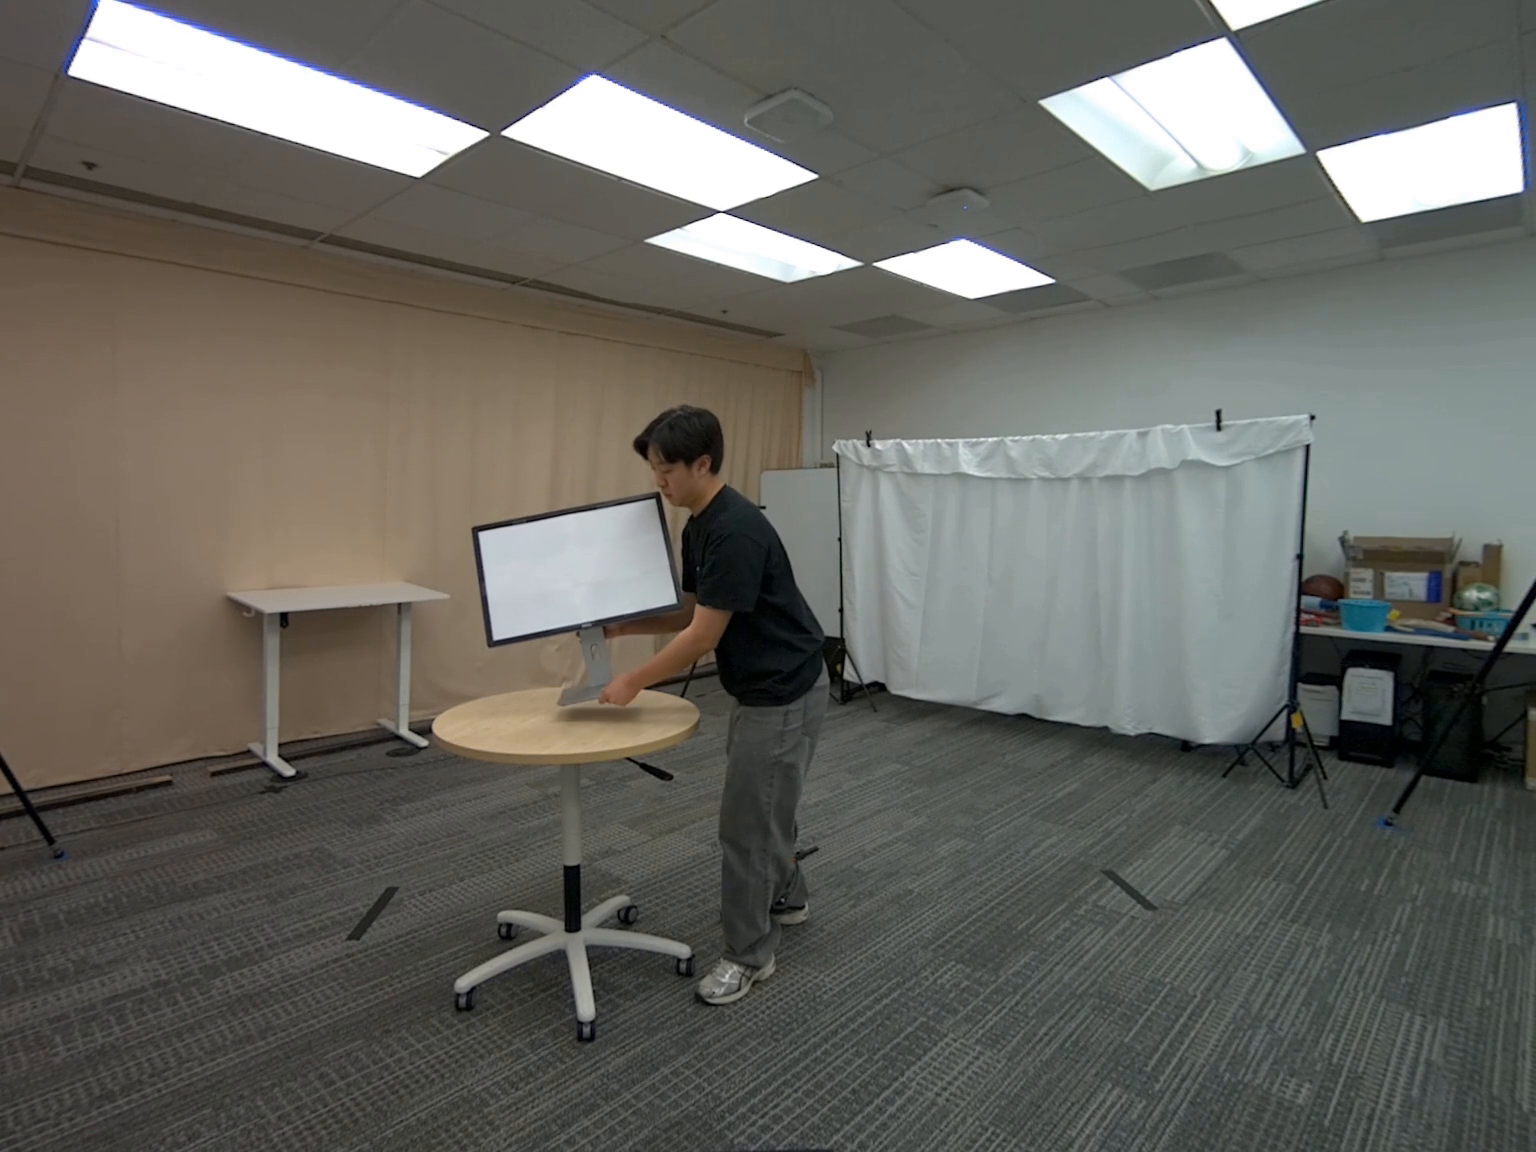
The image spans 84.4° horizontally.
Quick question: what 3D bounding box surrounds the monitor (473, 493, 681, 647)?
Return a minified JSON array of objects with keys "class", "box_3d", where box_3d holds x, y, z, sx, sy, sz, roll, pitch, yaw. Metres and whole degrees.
[{"class":"monitor","box_3d":[-0.528,0.078,2.451,0.560,0.565,0.223,-12,1,-4]}]
